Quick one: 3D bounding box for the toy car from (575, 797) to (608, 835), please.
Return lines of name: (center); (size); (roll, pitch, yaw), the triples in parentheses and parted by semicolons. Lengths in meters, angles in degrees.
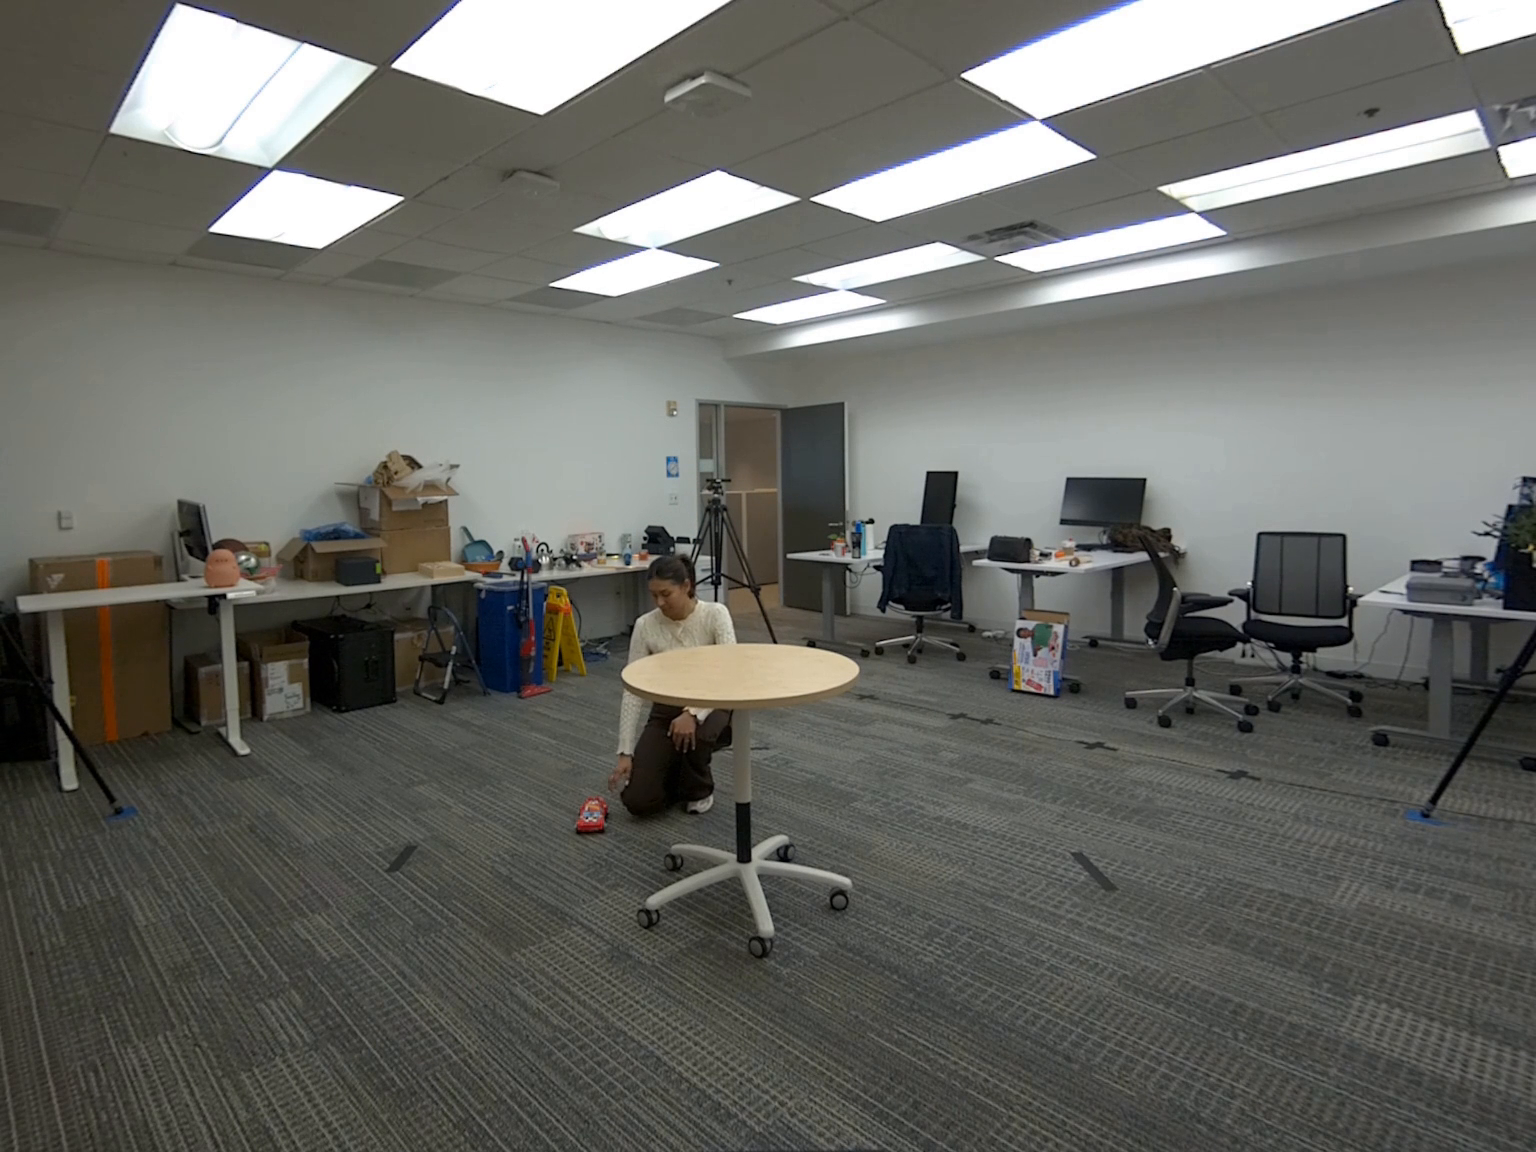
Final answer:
toy car: (-0.718, 0.982, 3.502); (0.130, 0.082, 0.259); (-2, 16, -6)
